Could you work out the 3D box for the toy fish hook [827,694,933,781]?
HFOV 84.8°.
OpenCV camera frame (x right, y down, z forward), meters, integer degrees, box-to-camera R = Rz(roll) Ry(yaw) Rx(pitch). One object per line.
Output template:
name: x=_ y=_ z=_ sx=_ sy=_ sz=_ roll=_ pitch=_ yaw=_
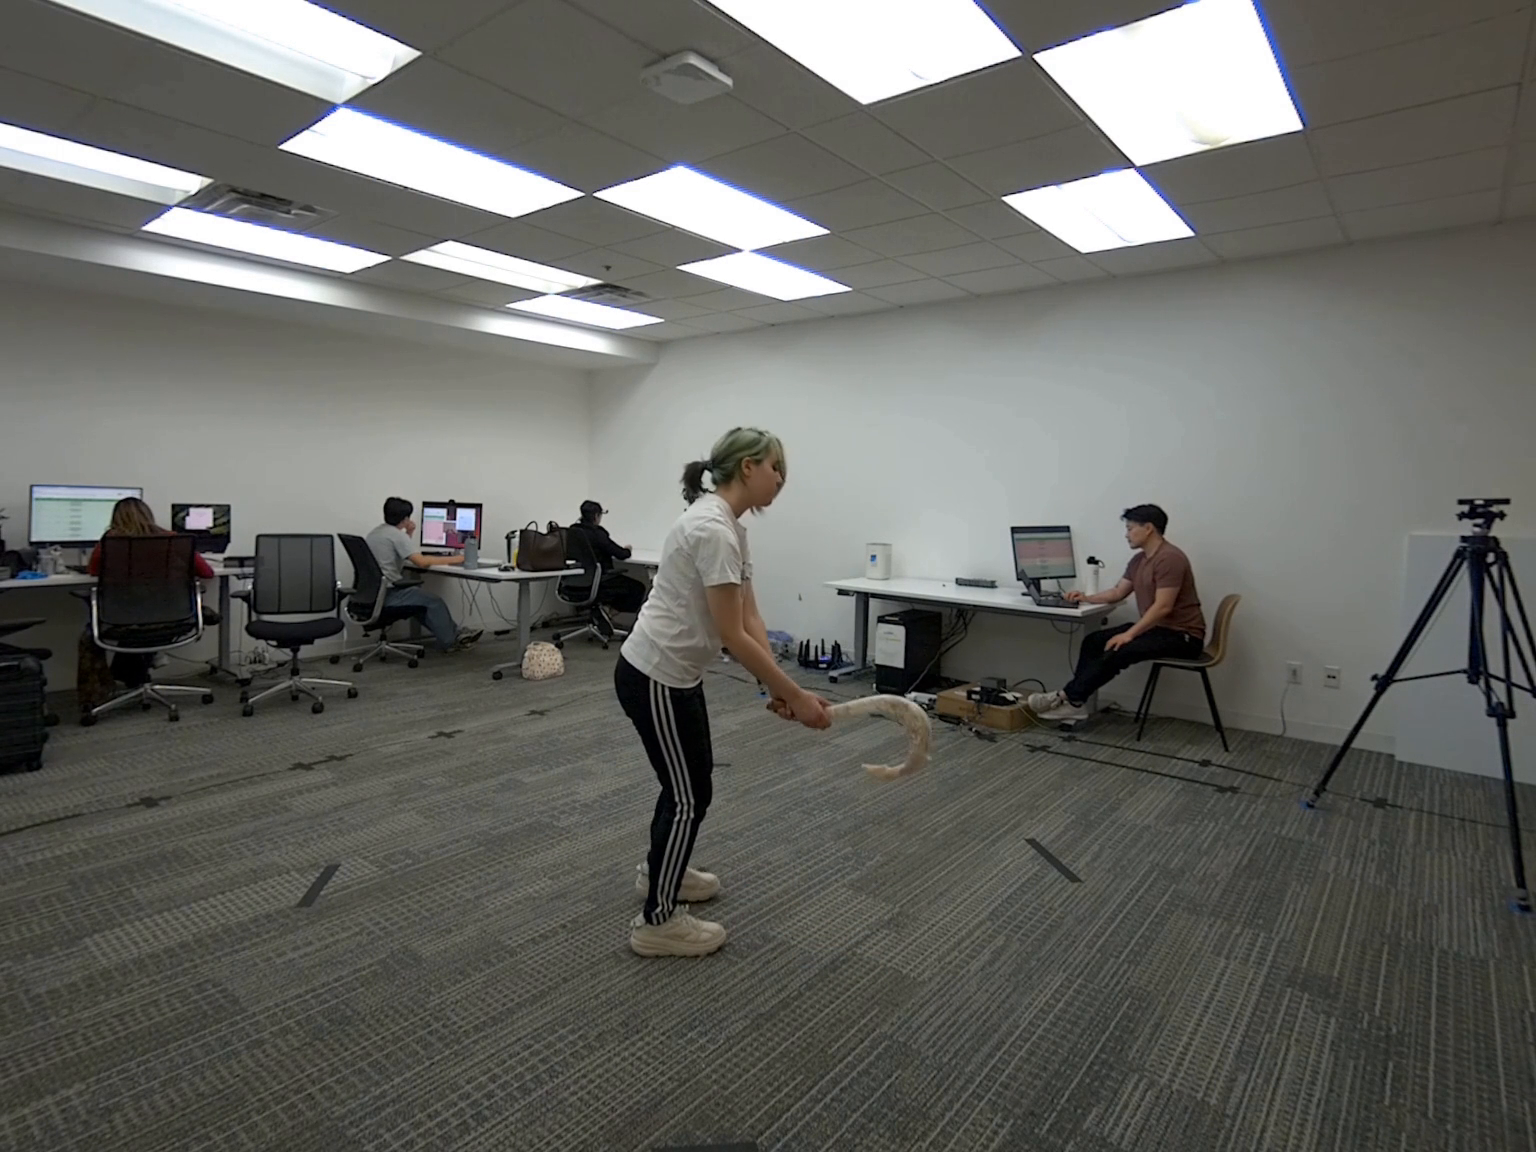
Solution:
toy fish hook: x=0.209 y=0.440 z=2.350 sx=0.522 sy=0.226 sz=0.046 roll=-1 pitch=-11 yaw=36
